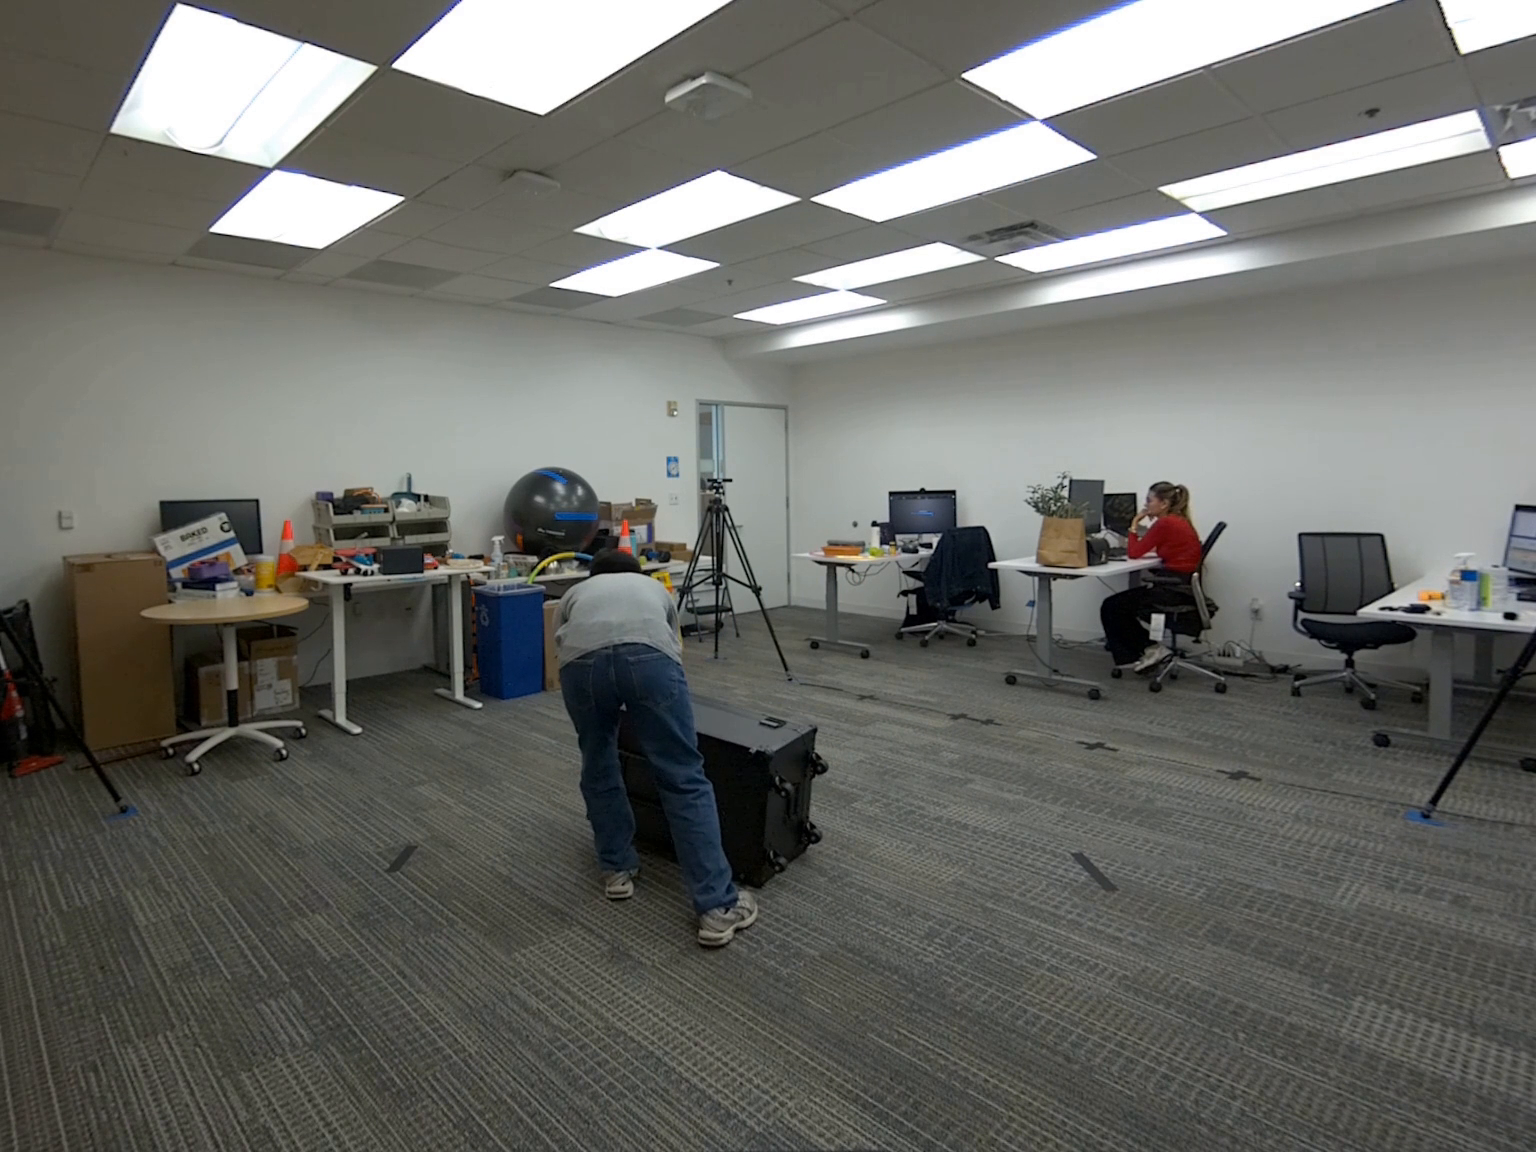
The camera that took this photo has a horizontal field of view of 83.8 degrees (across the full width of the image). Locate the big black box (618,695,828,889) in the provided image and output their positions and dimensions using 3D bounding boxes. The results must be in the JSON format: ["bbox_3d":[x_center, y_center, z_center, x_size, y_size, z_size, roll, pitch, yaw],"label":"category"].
[{"bbox_3d":[-0.233,0.751,3.204,0.887,0.518,0.387,9,10,30],"label":"big black box"}]
